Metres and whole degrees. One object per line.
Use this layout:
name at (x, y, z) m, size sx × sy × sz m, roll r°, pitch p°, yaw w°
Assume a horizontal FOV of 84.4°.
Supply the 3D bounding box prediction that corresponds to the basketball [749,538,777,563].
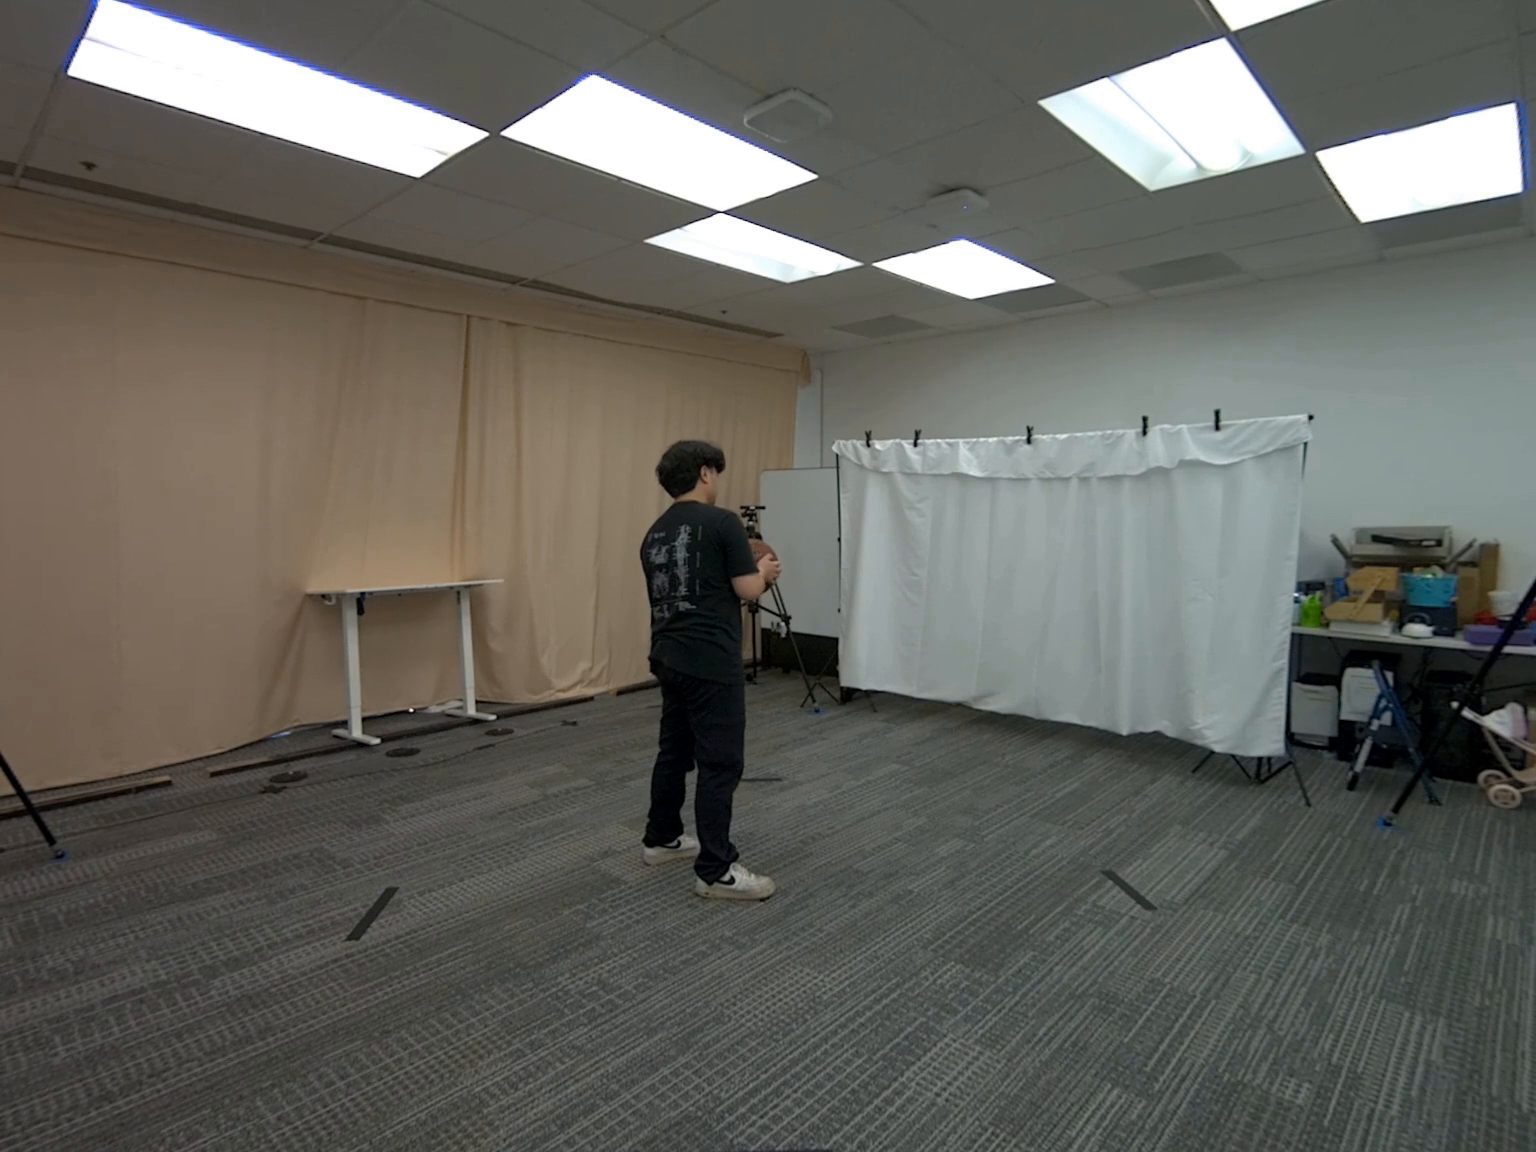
basketball at (-0.068, -0.038, 3.452) m, size 0.236 × 0.235 × 0.237 m, roll 0°, pitch 4°, yaw -2°
